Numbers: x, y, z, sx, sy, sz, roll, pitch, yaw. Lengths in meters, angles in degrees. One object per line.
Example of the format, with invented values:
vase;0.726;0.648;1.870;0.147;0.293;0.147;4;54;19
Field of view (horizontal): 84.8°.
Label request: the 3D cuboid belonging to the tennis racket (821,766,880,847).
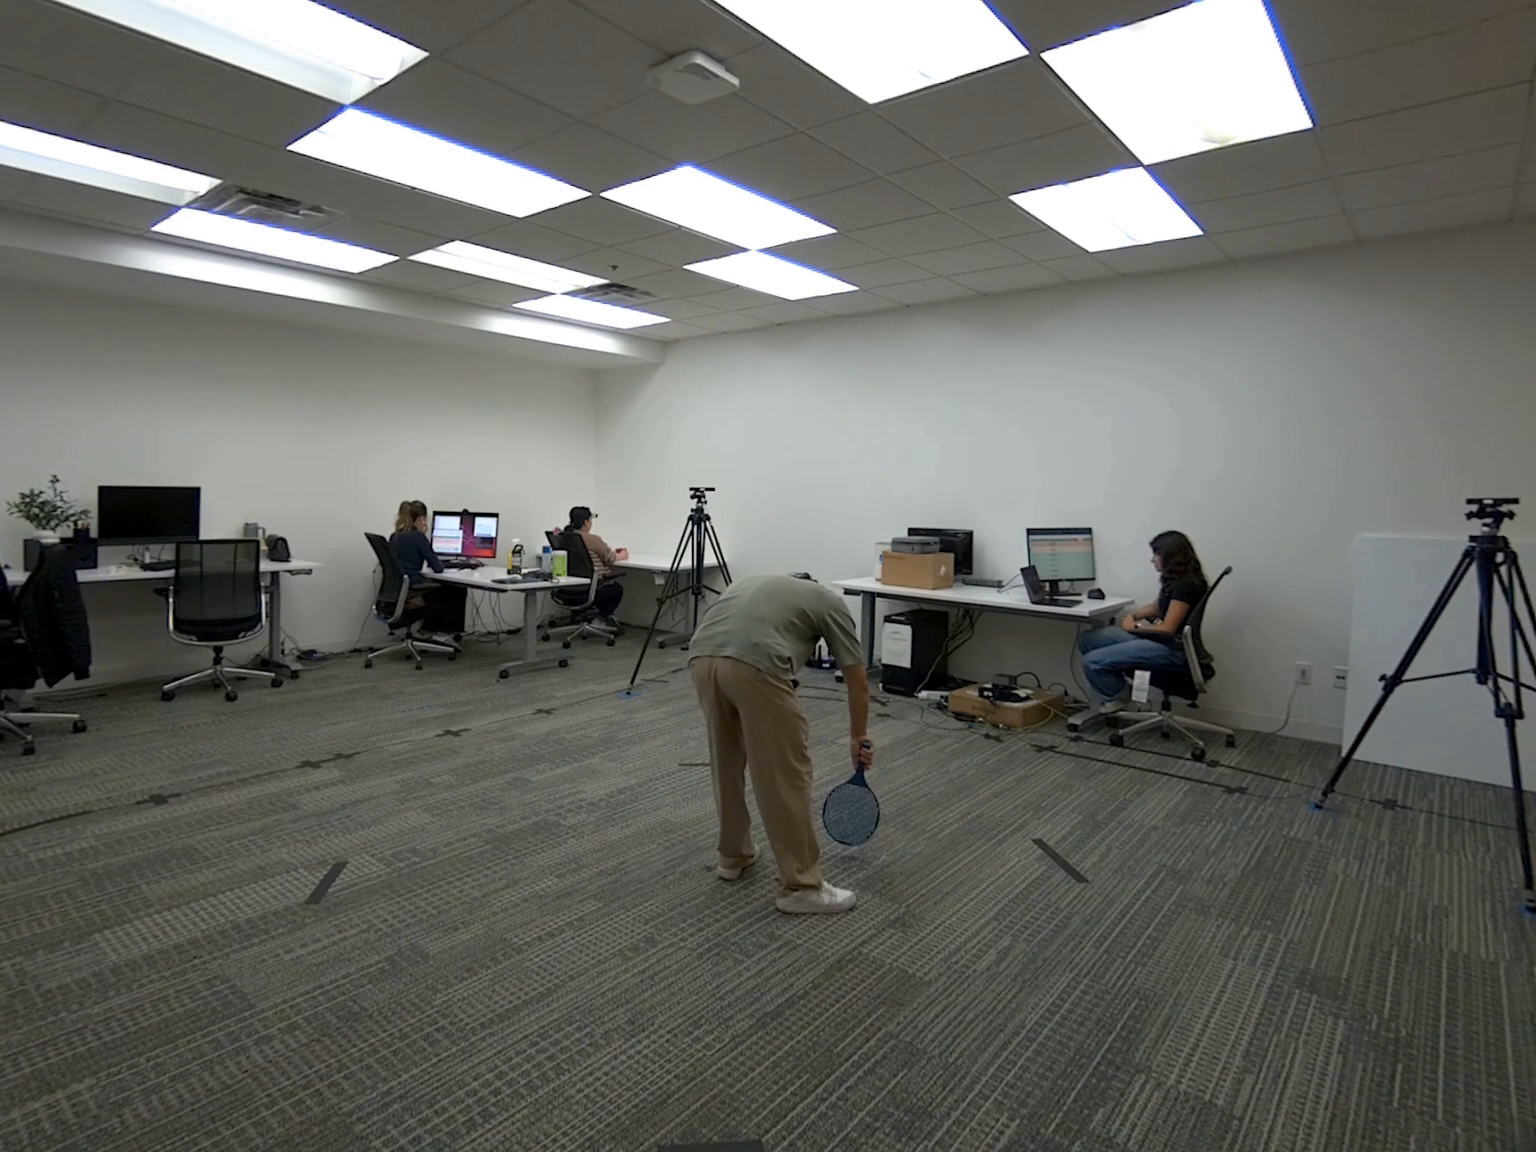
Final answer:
tennis racket;0.313;0.821;3.206;0.216;0.429;0.032;17;14;8
